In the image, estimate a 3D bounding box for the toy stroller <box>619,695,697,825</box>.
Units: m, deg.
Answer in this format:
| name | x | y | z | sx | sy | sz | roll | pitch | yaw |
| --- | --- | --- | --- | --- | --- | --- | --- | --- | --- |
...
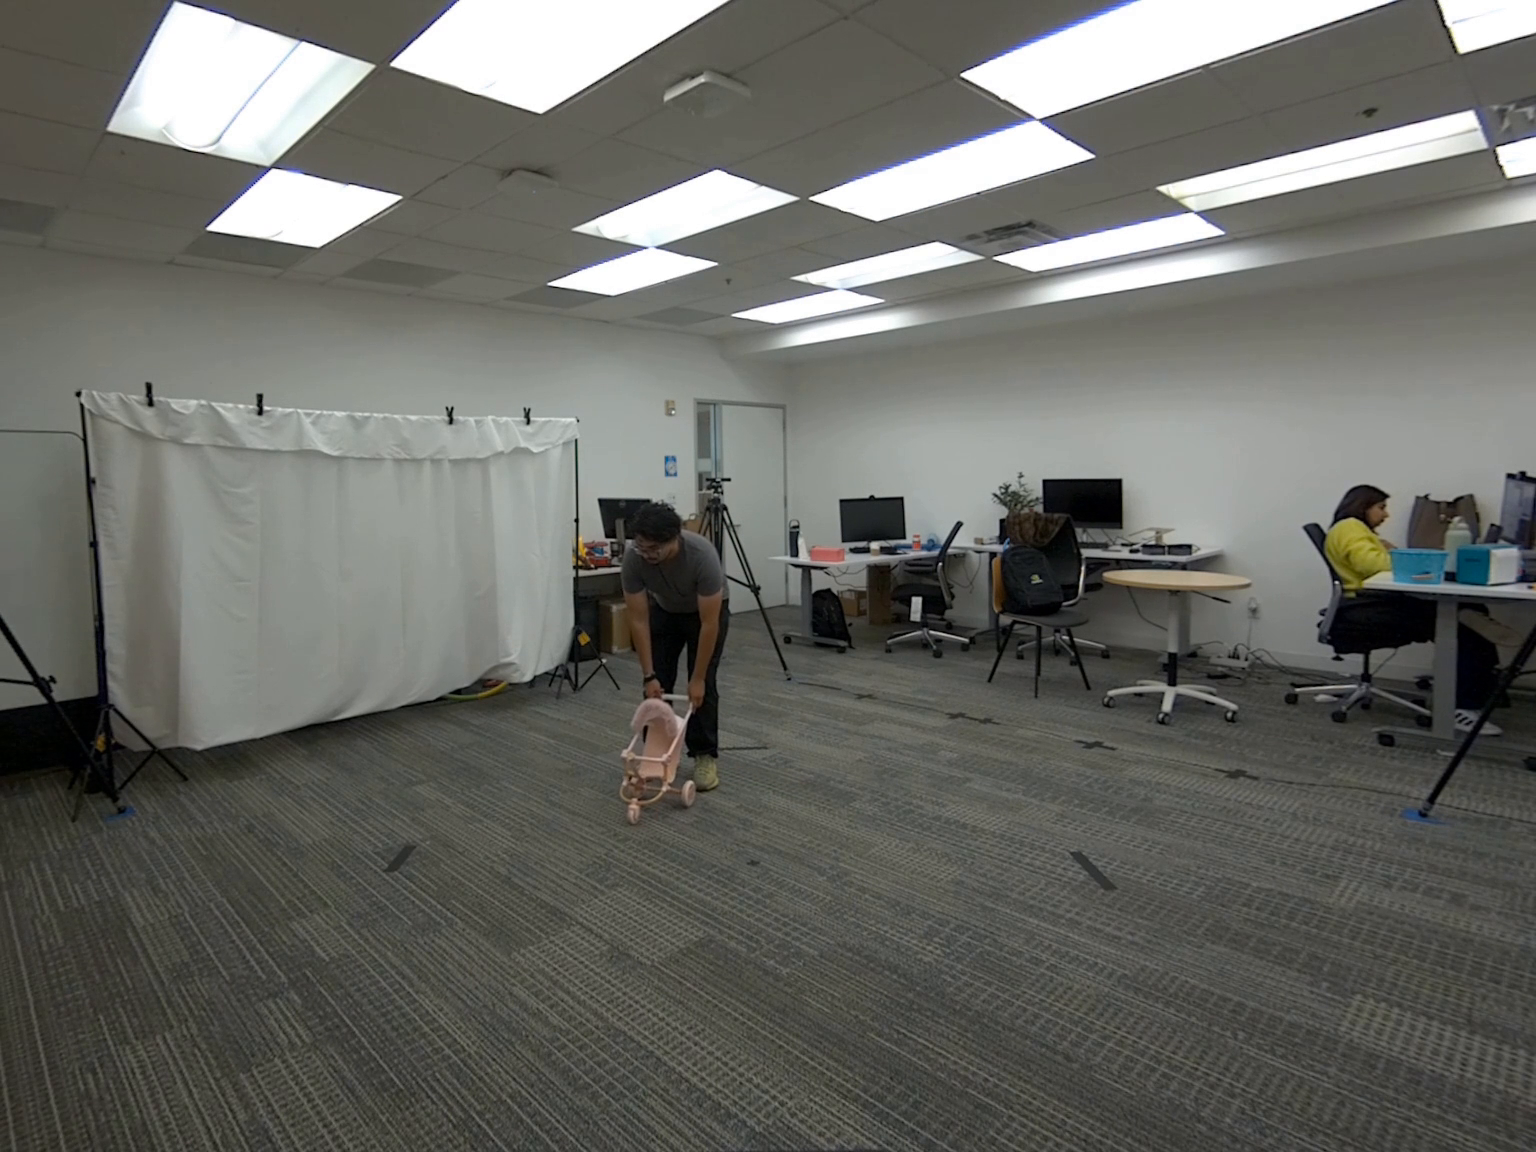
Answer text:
| name | x | y | z | sx | sy | sz | roll | pitch | yaw |
| --- | --- | --- | --- | --- | --- | --- | --- | --- | --- |
| toy stroller | -0.488 | 0.769 | 3.639 | 0.288 | 0.540 | 0.330 | 0 | -12 | 26 |
